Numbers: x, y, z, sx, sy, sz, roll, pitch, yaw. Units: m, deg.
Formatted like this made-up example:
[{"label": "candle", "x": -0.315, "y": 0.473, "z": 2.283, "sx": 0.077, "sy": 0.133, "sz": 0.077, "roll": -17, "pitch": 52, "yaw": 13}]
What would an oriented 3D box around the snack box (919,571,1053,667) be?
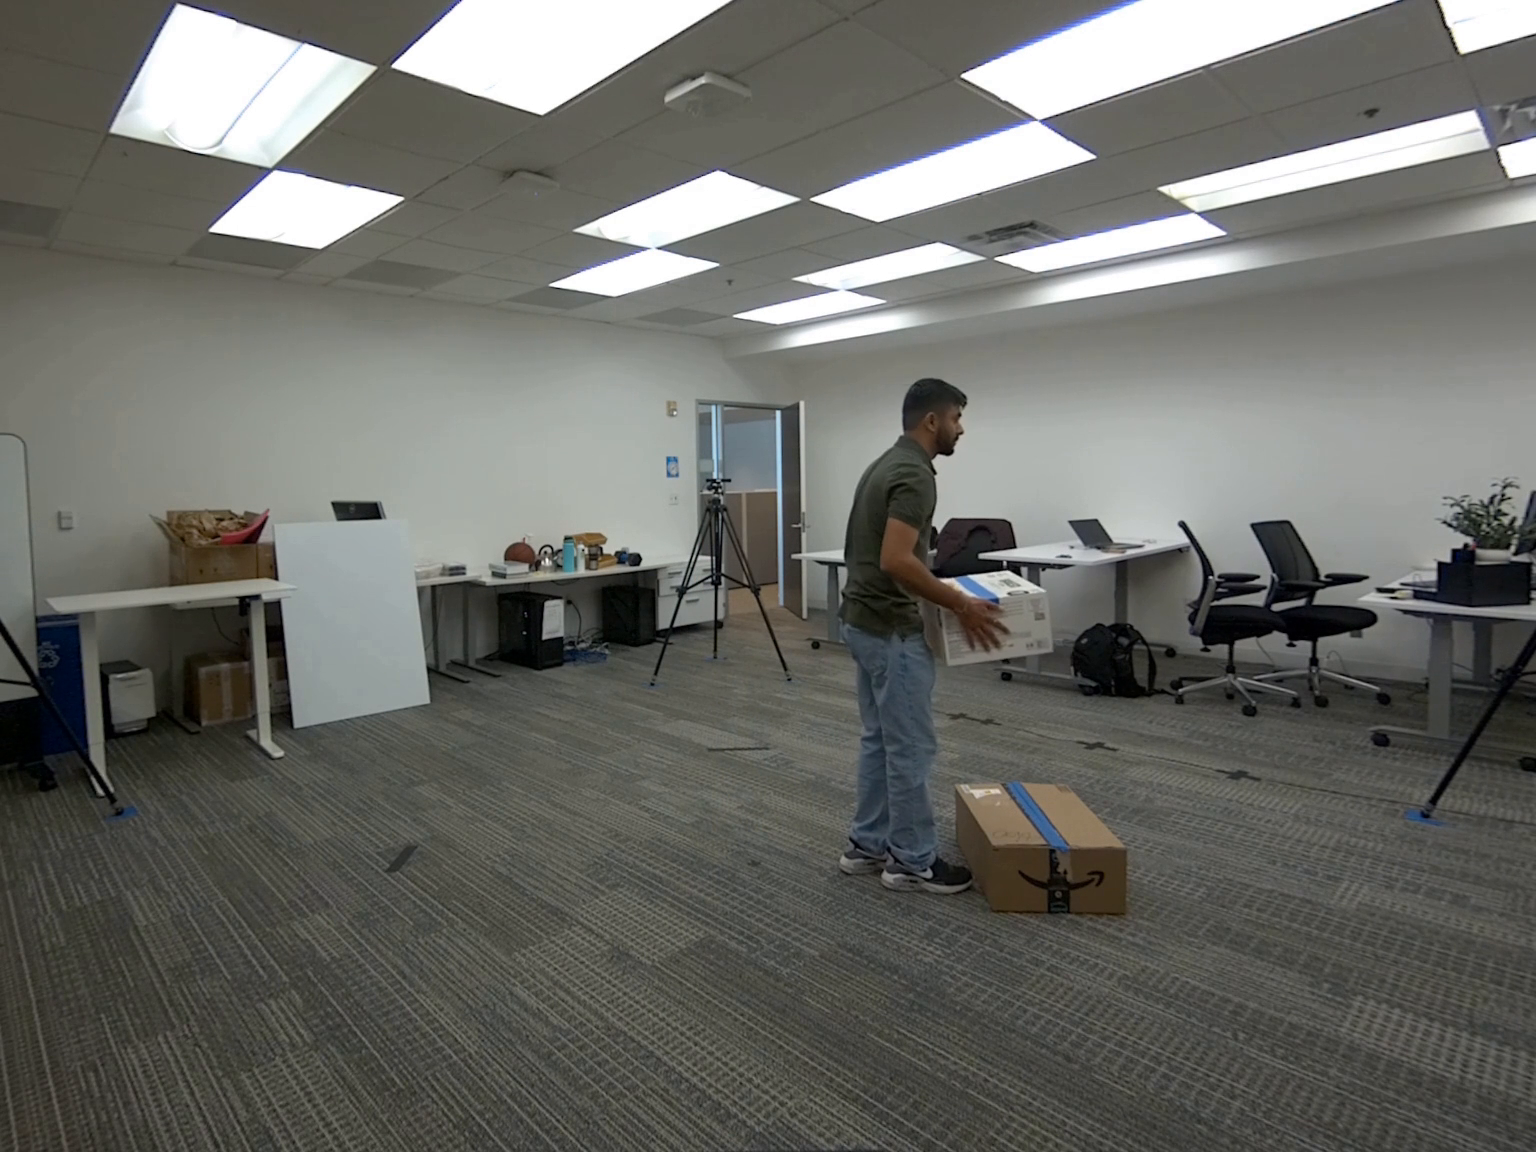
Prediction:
[{"label": "snack box", "x": 0.717, "y": 0.139, "z": 2.908, "sx": 0.341, "sy": 0.204, "sz": 0.408, "roll": -8, "pitch": 9, "yaw": 1}]
